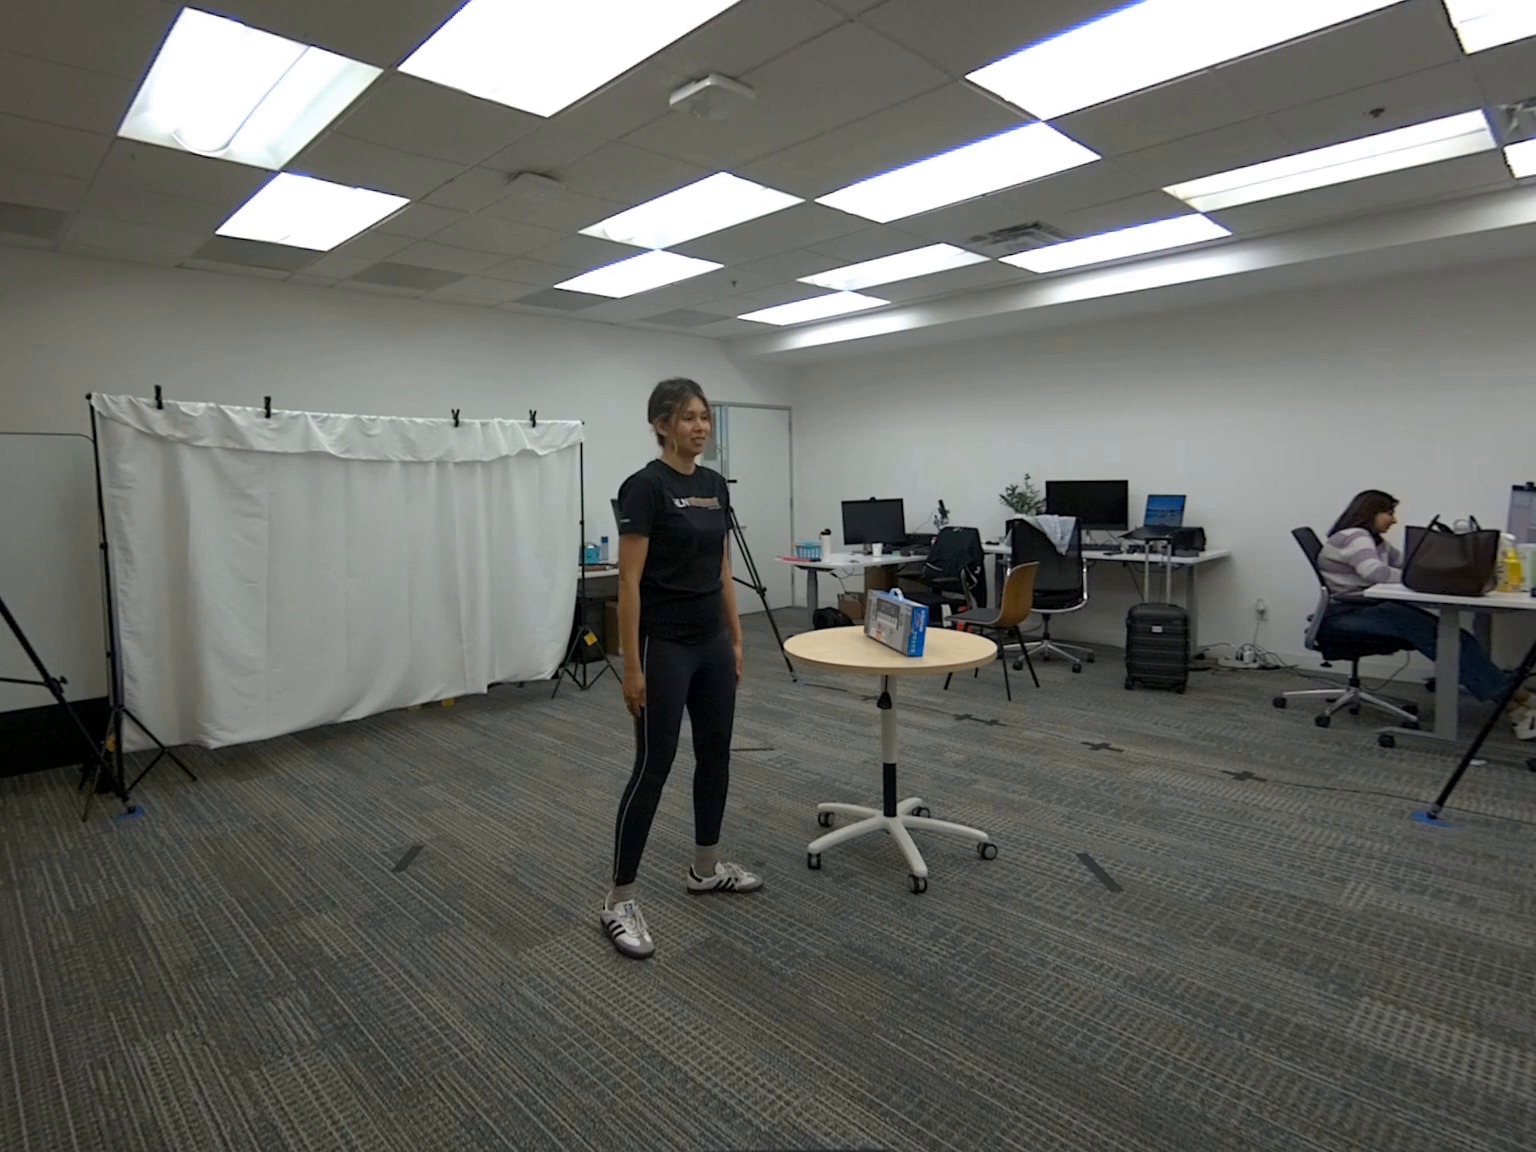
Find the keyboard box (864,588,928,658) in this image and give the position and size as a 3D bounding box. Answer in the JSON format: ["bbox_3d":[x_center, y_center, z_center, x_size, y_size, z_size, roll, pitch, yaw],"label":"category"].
[{"bbox_3d":[0.463,0.164,3.117,0.058,0.175,0.443,3,5,-14],"label":"keyboard box"}]
